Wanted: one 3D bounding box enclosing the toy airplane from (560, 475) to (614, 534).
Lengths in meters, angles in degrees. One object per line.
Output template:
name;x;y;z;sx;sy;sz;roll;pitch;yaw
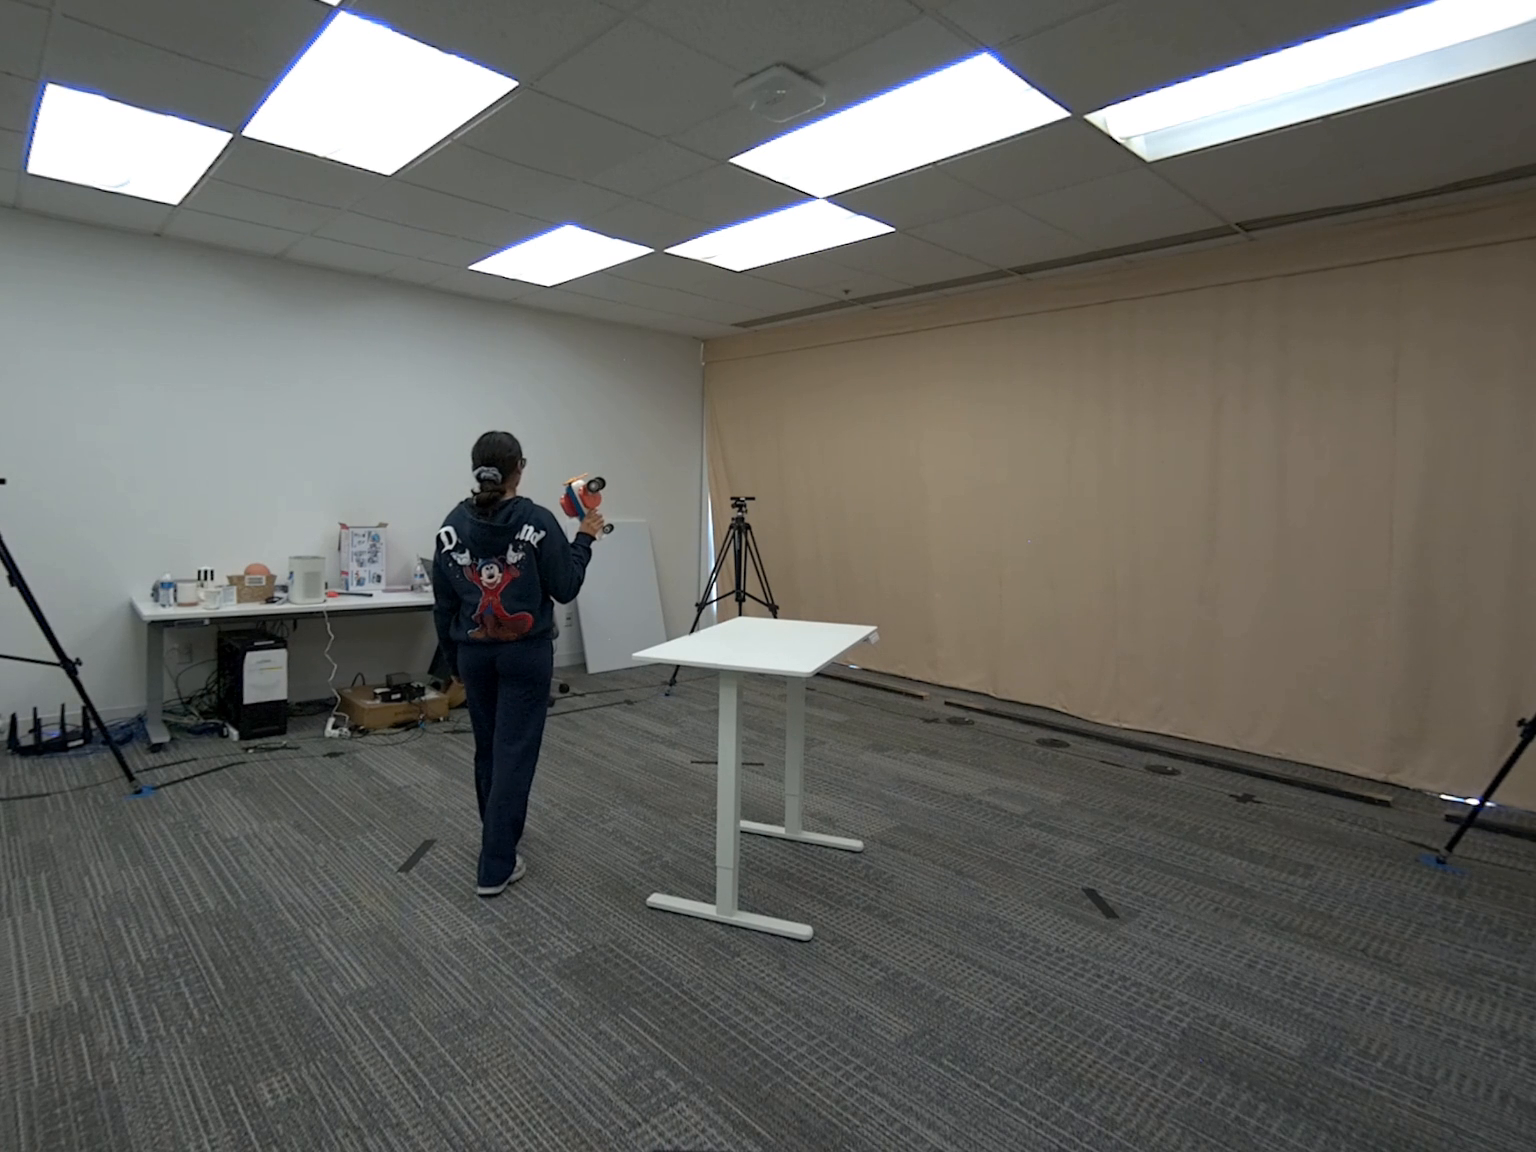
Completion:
toy airplane;-0.711;-0.265;3.259;0.157;0.263;0.246;-11;-18;5
